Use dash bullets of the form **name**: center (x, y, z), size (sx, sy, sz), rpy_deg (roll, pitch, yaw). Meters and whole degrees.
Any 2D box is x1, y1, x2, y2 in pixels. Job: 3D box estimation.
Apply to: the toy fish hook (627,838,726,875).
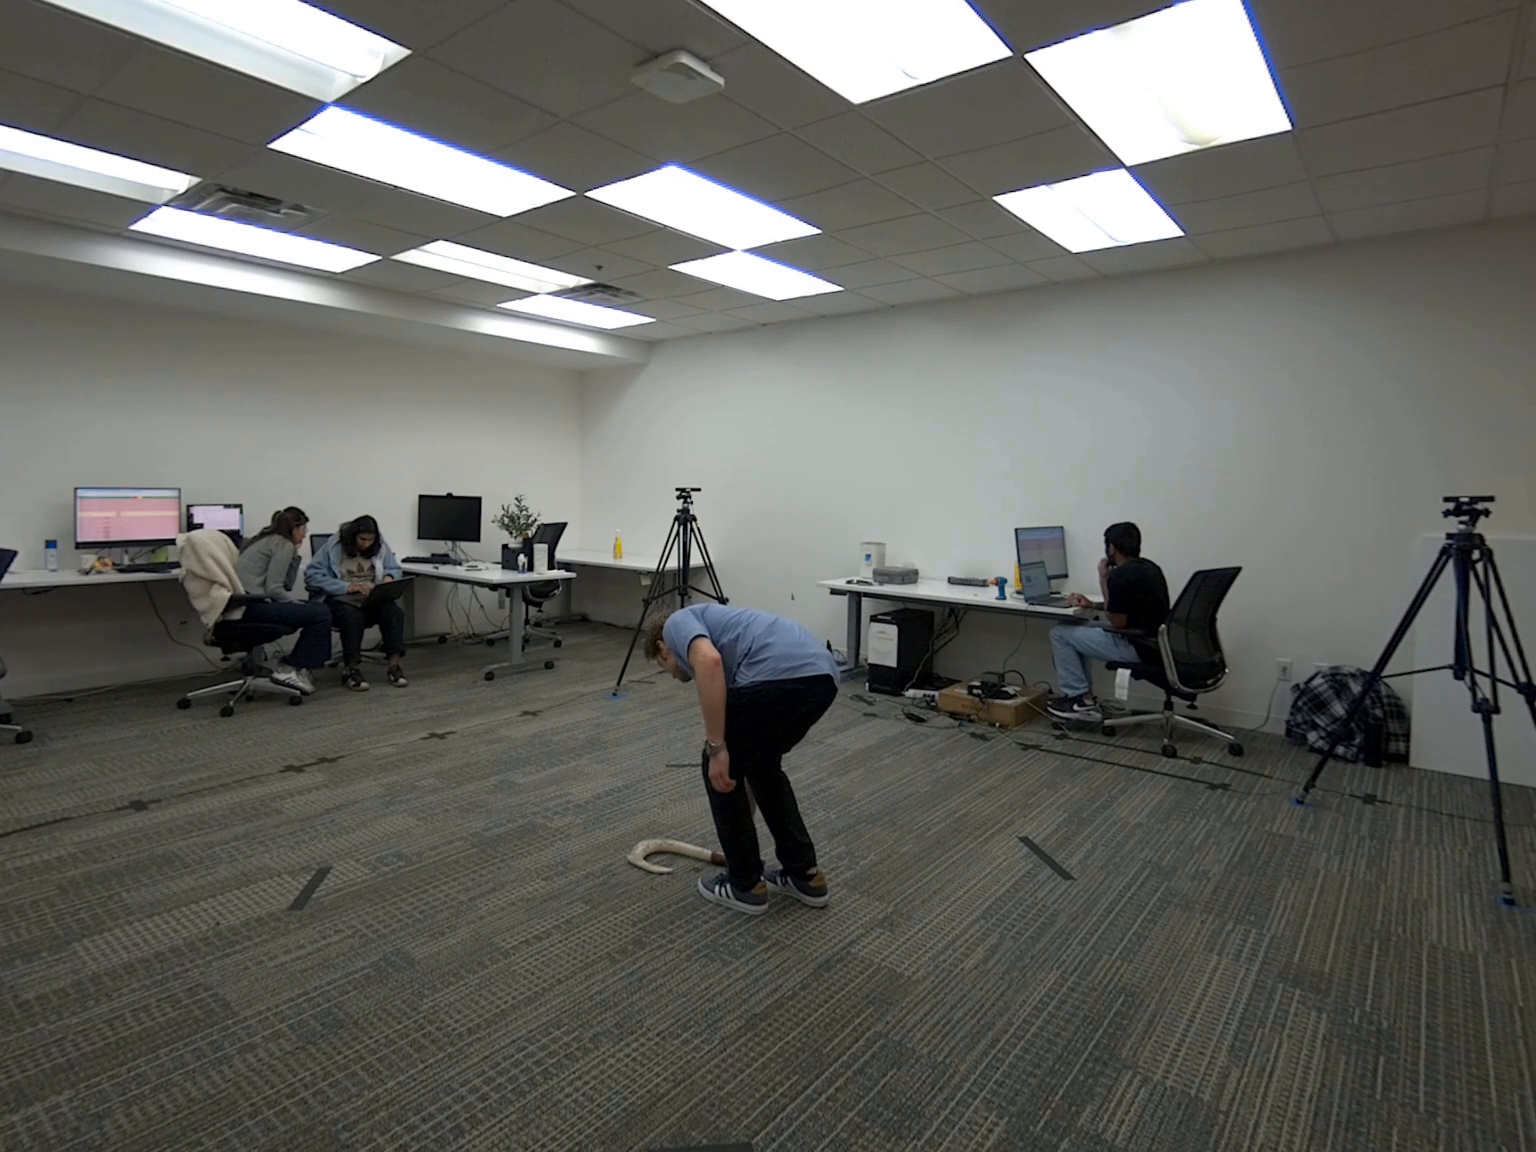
- **toy fish hook**: center (-0.275, 1.050, 3.135), size (0.515, 0.048, 0.223), rpy_deg (1, 13, 16)
